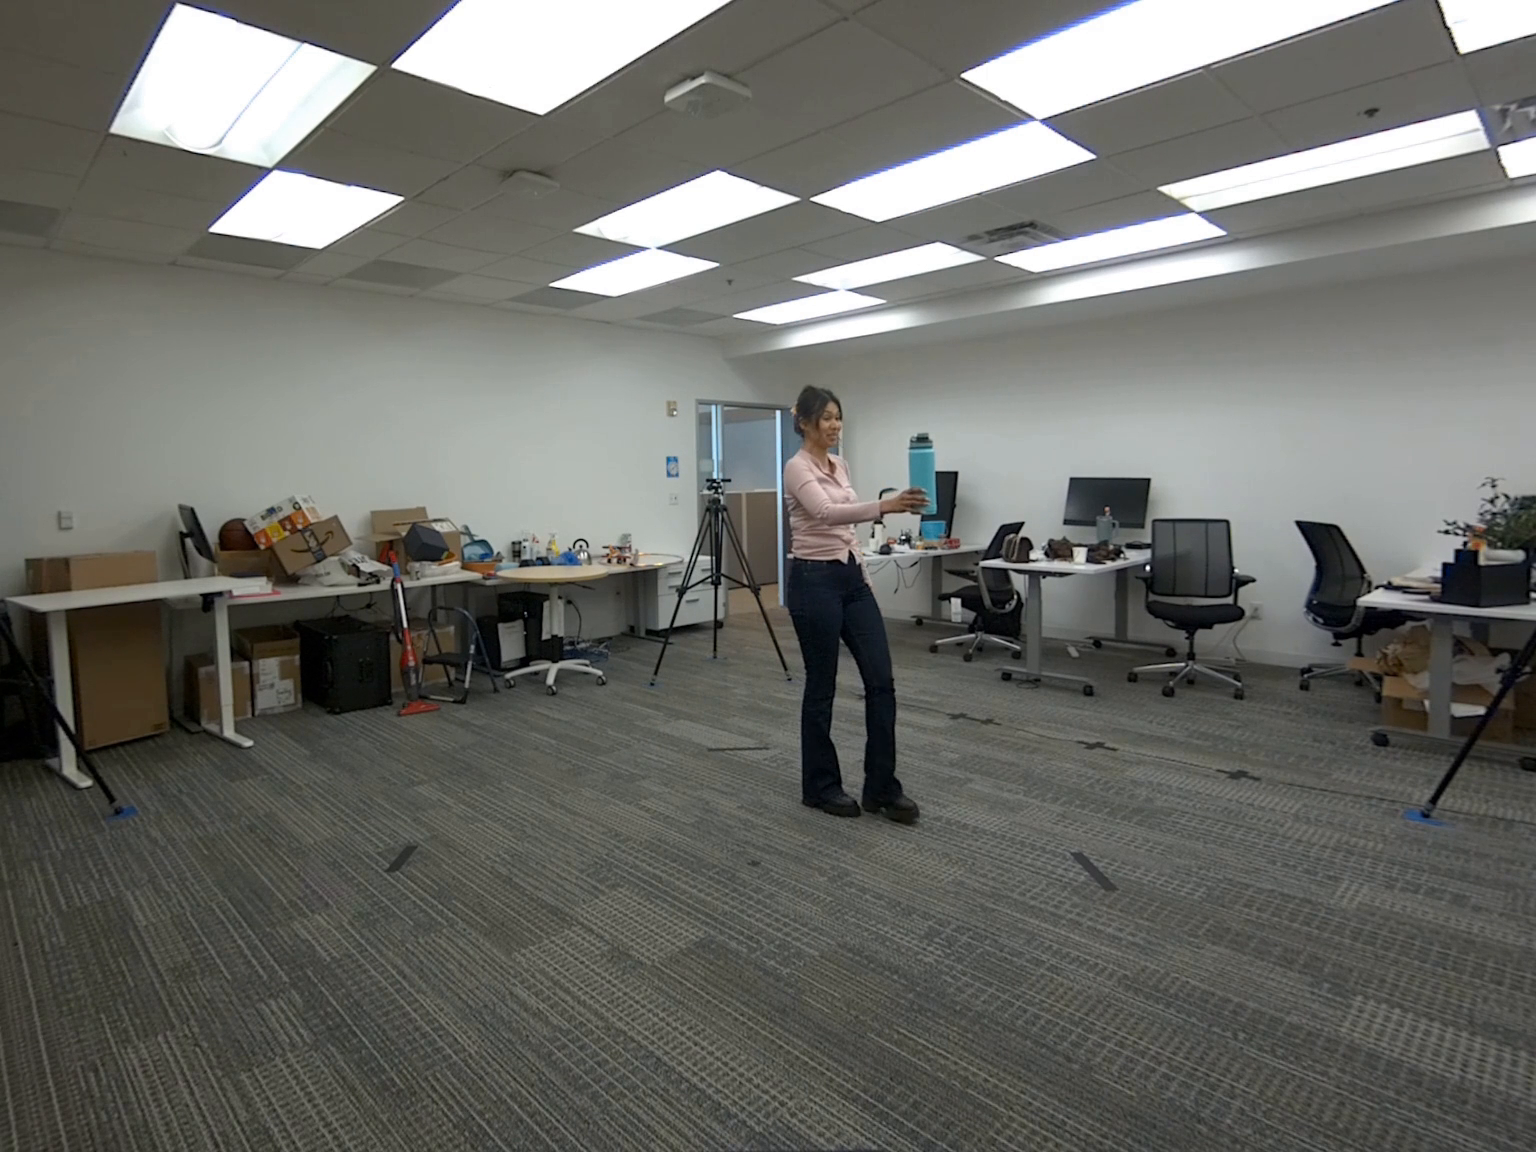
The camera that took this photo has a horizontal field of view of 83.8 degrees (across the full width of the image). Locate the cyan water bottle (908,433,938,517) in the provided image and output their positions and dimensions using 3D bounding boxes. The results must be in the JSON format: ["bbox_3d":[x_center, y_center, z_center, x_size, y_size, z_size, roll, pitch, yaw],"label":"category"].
[{"bbox_3d":[0.541,-0.363,2.988,0.092,0.282,0.093,-3,3,-1],"label":"cyan water bottle"}]
